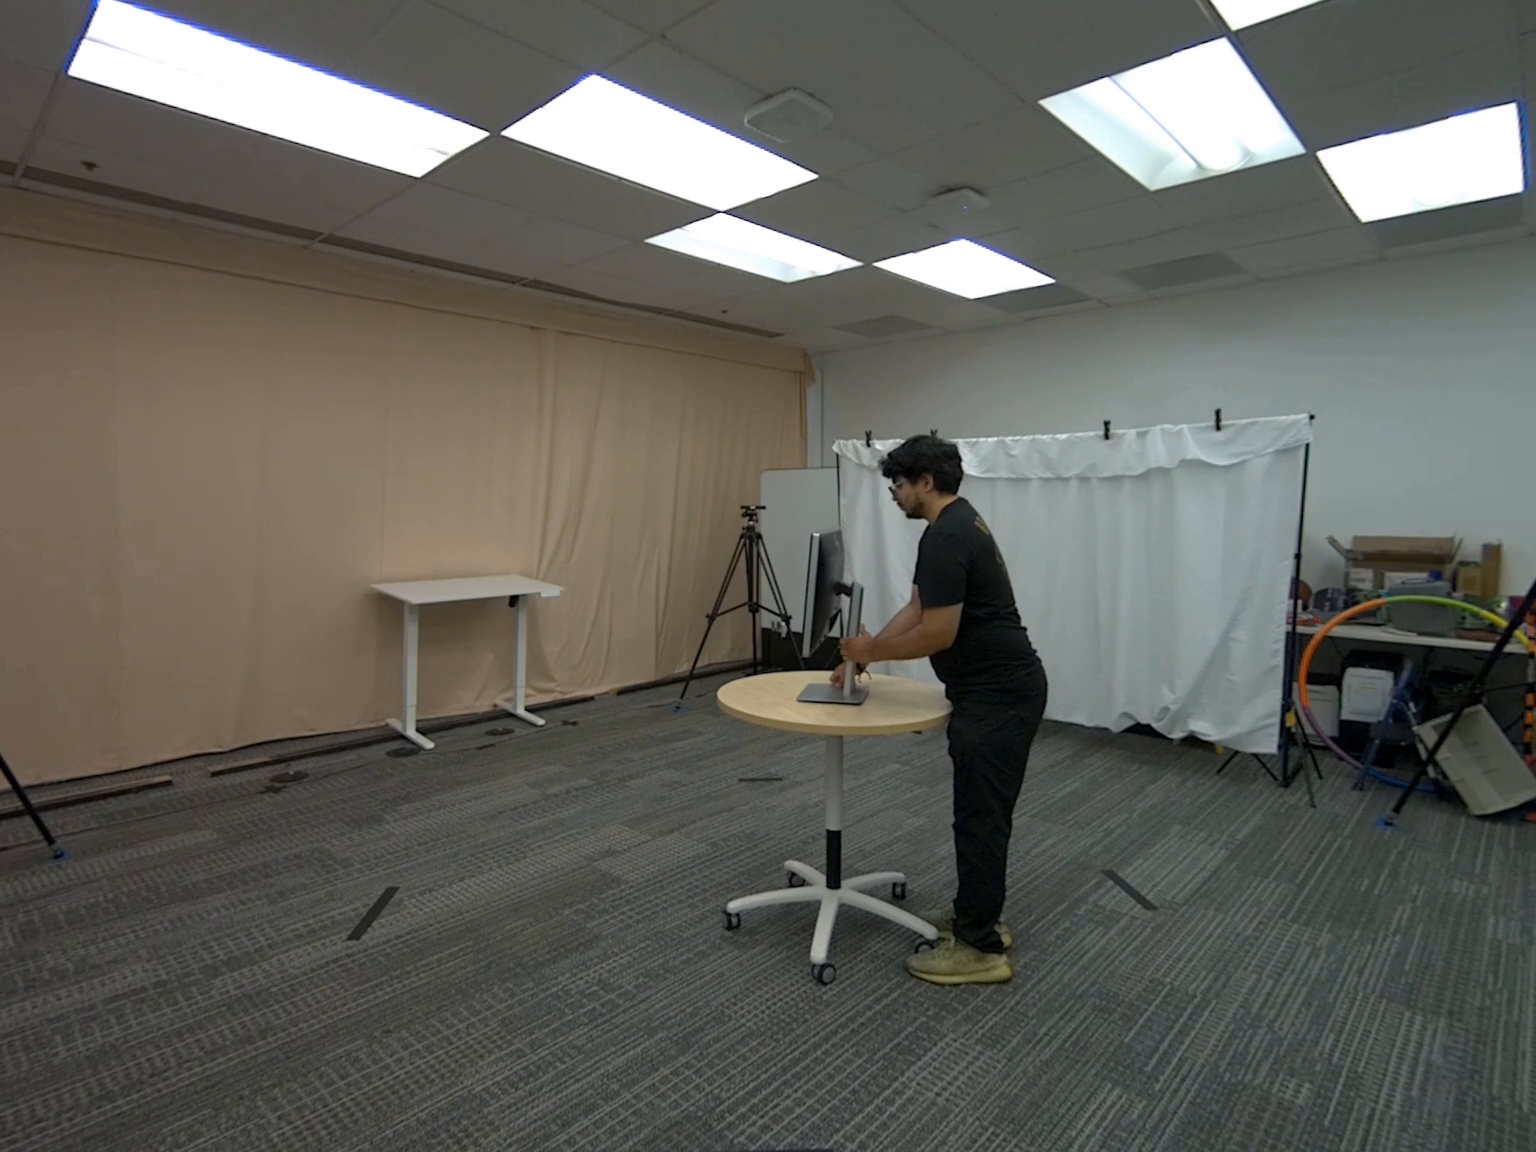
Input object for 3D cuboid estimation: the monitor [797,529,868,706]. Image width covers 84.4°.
[{"bbox_3d":[0.239,0.126,2.702,0.213,0.552,0.557,3,5,13],"label":"monitor"}]
